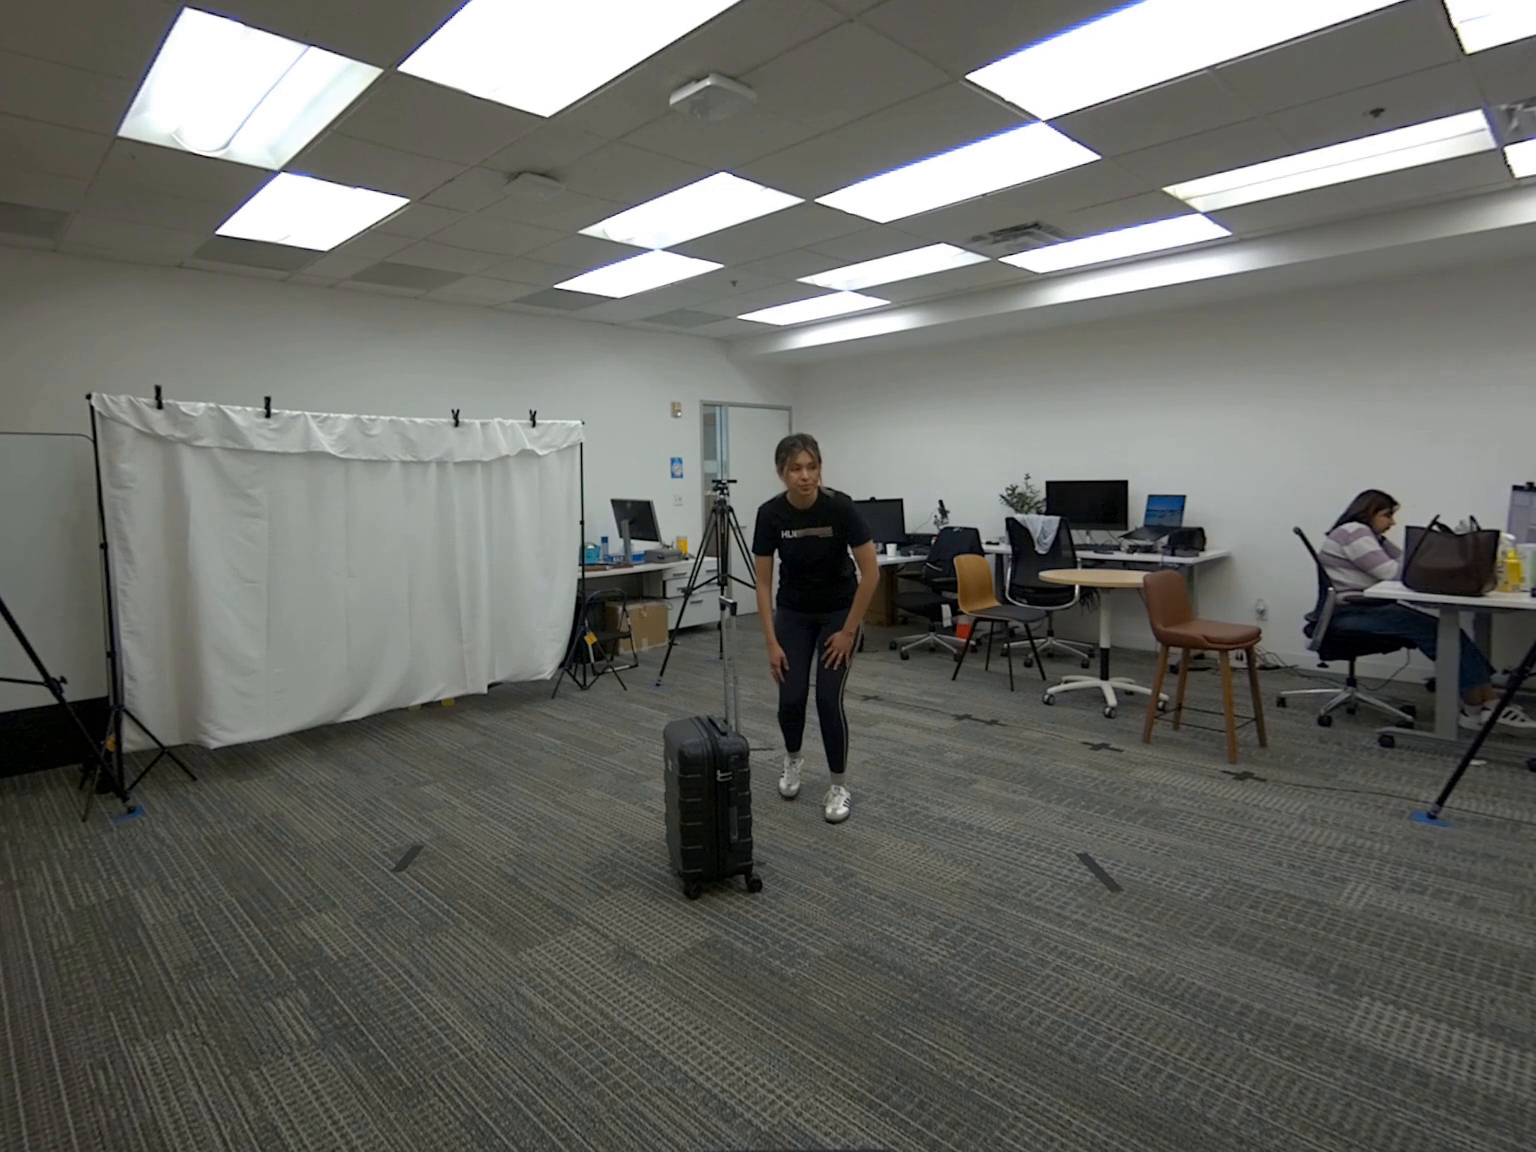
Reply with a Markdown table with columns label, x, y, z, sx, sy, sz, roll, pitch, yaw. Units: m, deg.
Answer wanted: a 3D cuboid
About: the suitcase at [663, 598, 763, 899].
| label | x | y | z | sx | sy | sz | roll | pitch | yaw |
| --- | --- | --- | --- | --- | --- | --- | --- | --- | --- |
| suitcase | -0.223 | 0.587 | 2.988 | 0.254 | 0.974 | 0.390 | -5 | 4 | -14 |
